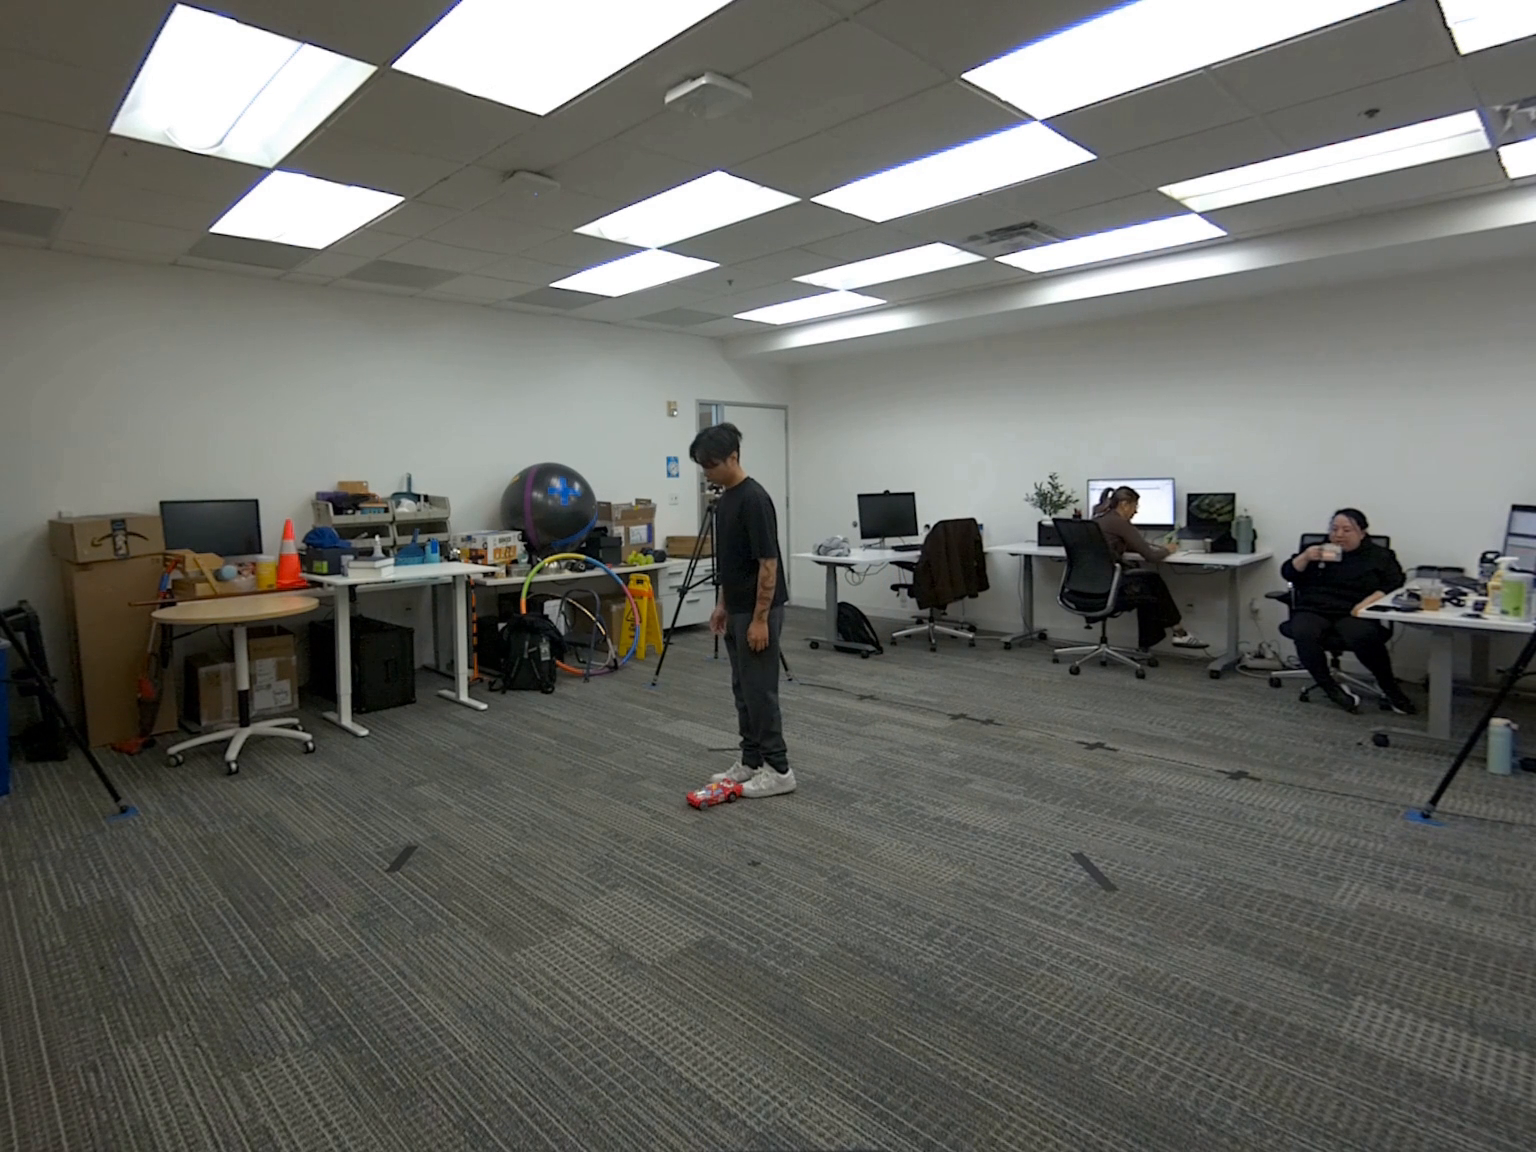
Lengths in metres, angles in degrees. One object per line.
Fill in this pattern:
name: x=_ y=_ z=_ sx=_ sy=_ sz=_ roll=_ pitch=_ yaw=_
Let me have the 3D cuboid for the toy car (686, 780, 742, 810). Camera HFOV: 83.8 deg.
toy car: x=-0.229 y=0.948 z=3.711 sx=0.250 sy=0.082 sz=0.134 roll=-18 pitch=14 yaw=-31
